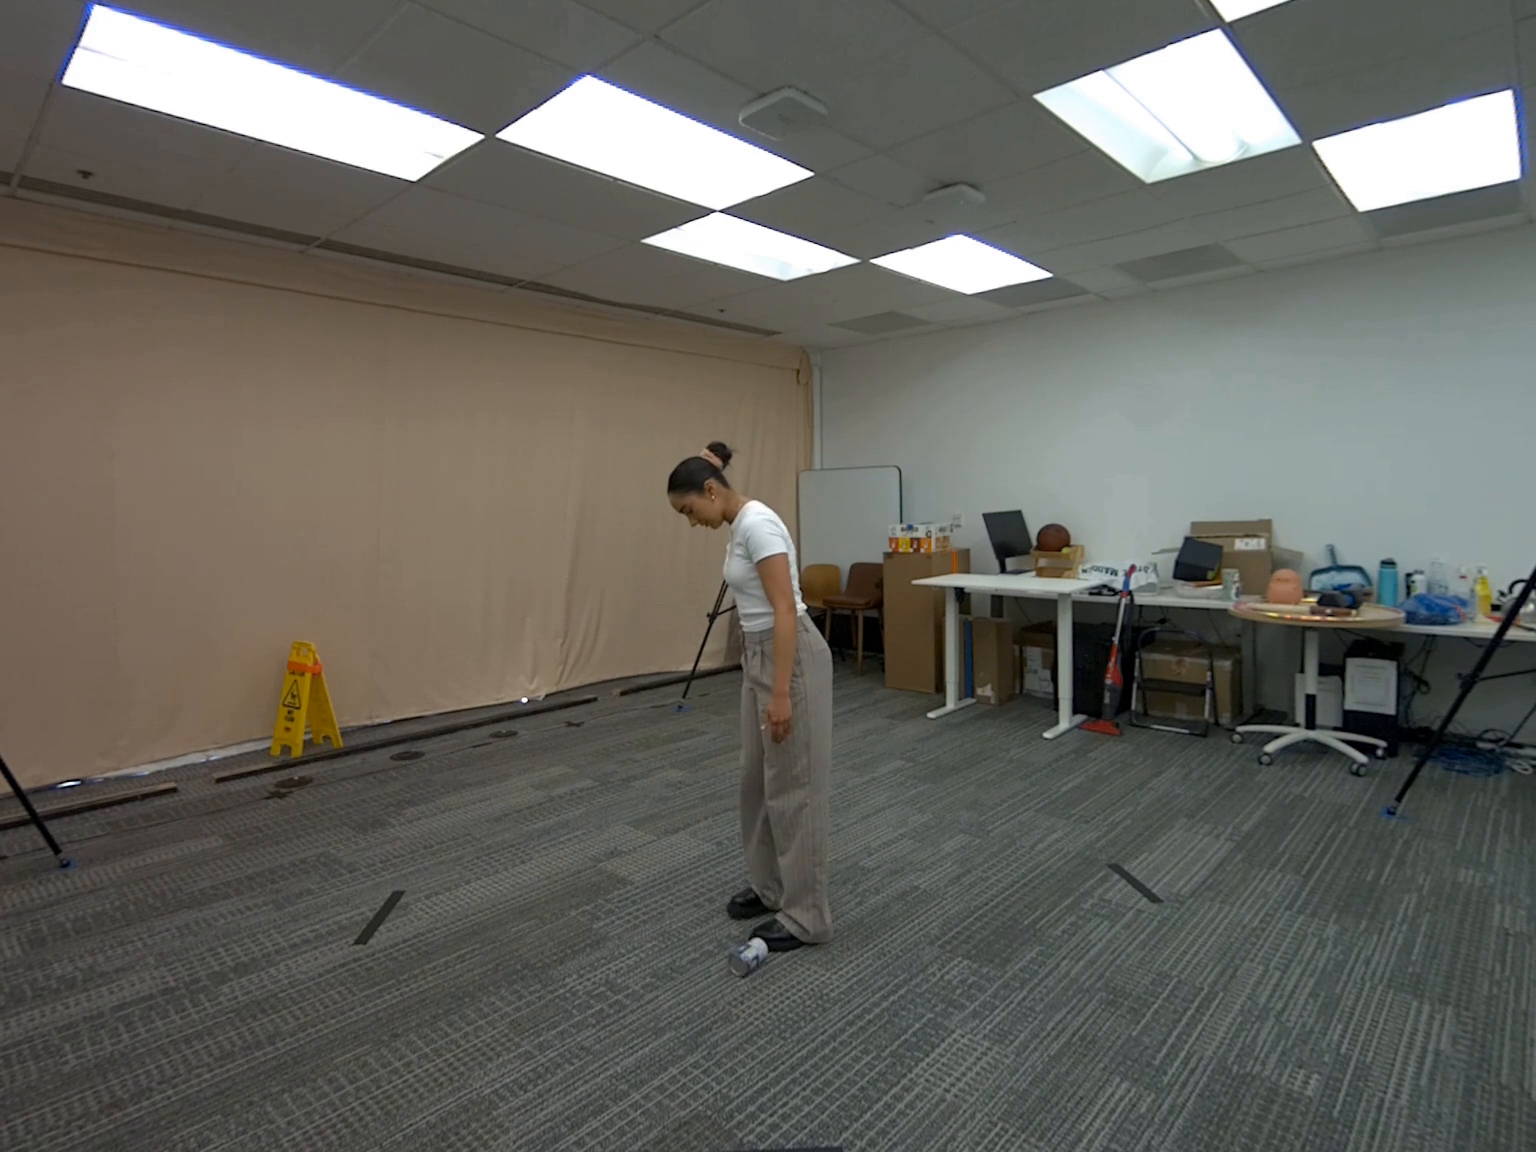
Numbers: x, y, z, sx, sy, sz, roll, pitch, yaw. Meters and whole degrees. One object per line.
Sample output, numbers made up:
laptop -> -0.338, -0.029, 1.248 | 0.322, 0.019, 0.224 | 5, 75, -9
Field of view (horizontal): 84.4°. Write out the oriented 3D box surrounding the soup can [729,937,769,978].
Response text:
soup can -> -0.063, 1.138, 2.545 | 0.069, 0.067, 0.119 | 1, 9, 29
